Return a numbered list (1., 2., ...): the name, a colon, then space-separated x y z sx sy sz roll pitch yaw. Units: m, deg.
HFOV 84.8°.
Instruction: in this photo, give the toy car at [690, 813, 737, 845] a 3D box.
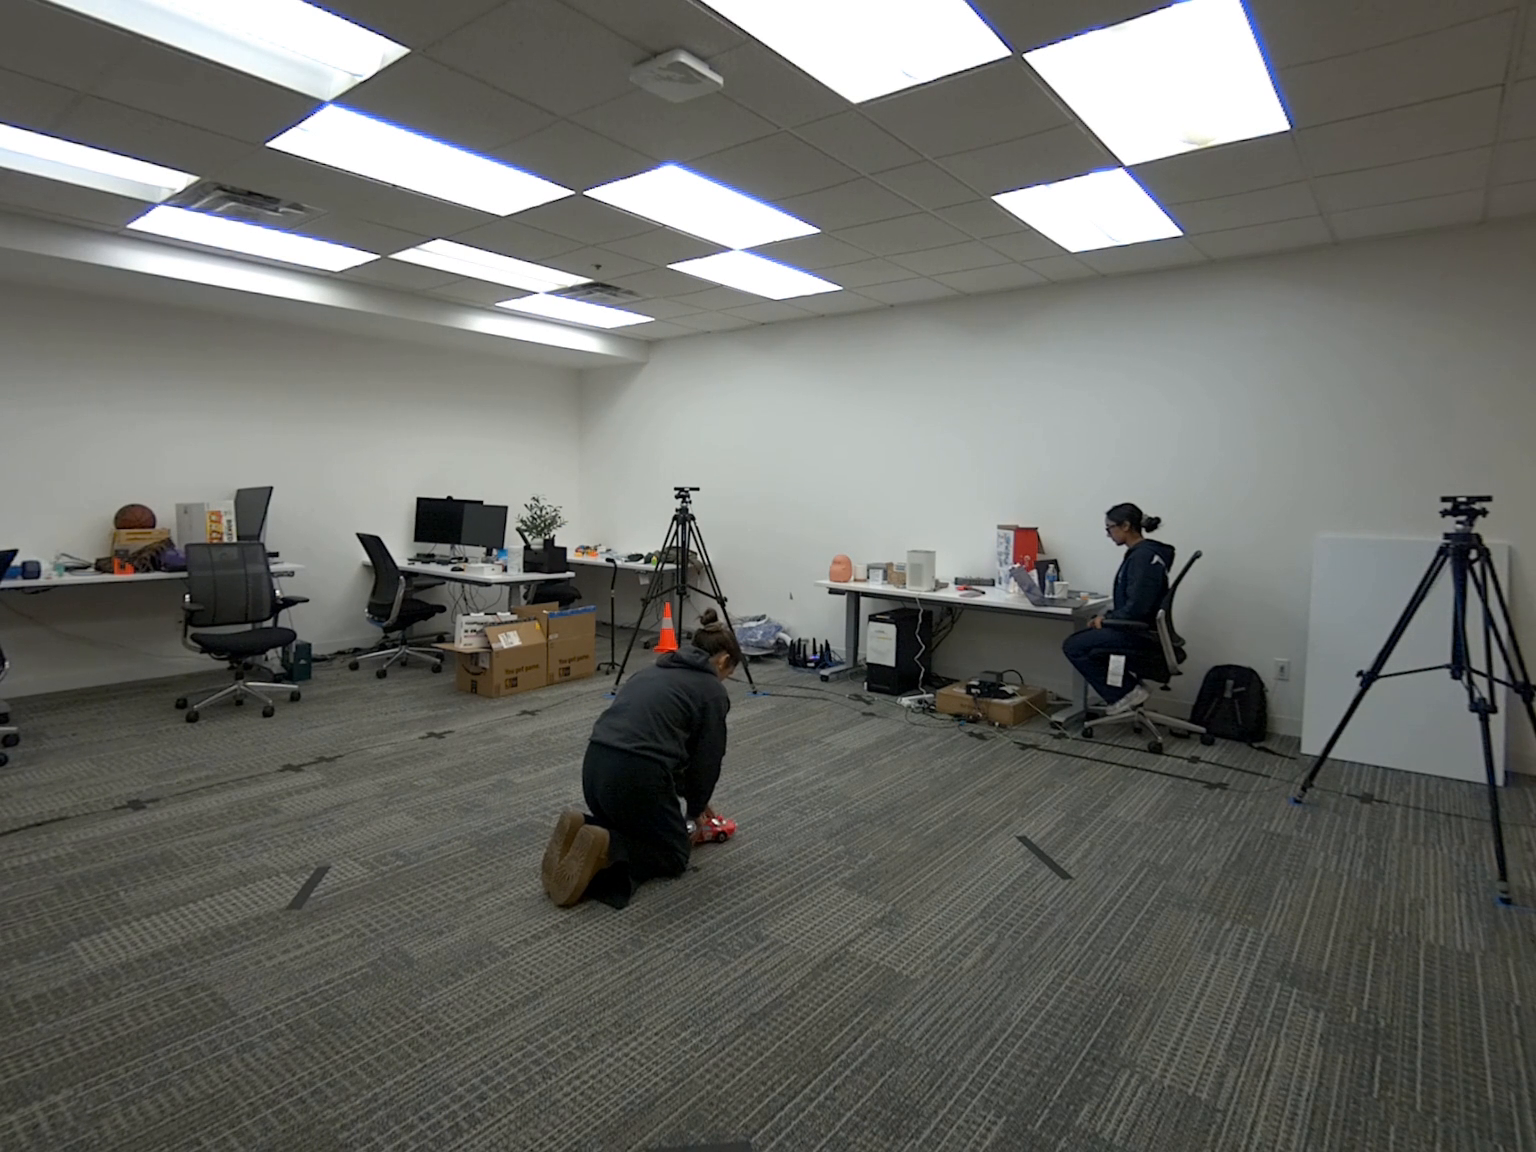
1. toy car: -0.244 1.007 3.366 0.251 0.082 0.133 -14 8 -15
